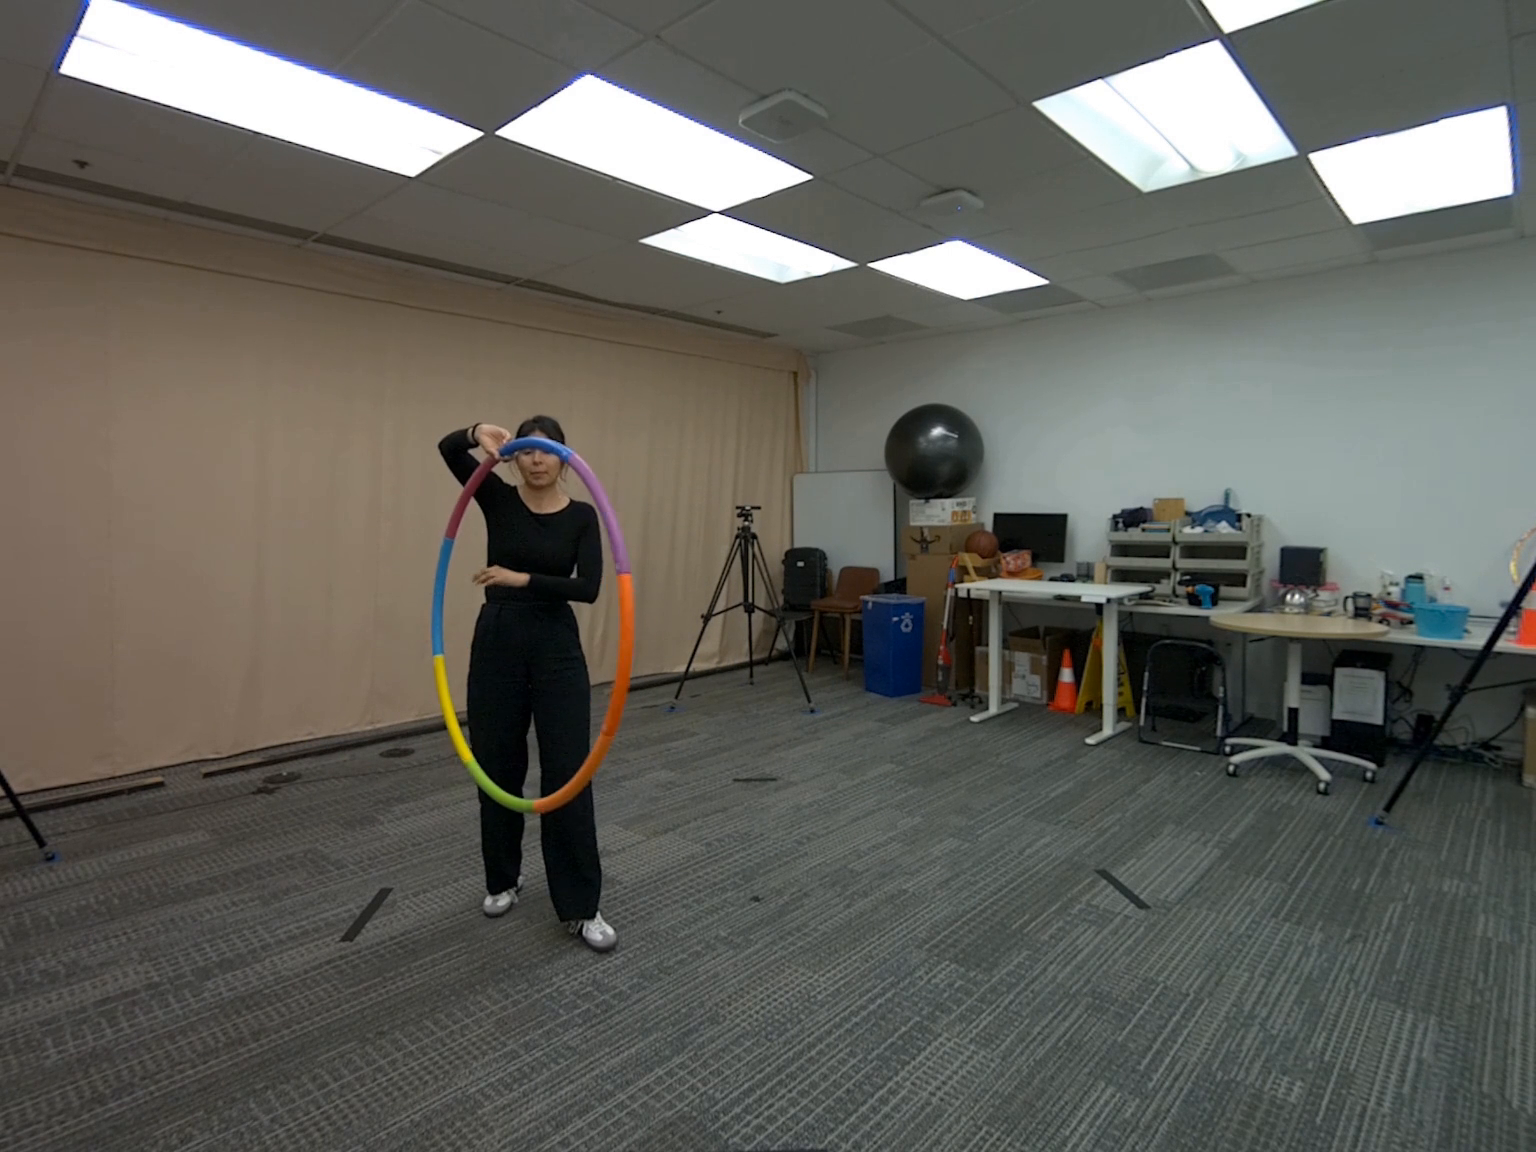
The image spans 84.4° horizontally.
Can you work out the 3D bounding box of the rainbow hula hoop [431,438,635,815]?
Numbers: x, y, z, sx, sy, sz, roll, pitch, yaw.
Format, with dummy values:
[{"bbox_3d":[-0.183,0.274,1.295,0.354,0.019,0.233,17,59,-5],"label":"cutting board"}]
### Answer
[{"bbox_3d":[-0.668,0.116,2.250,1.018,0.985,0.050,4,-1,44],"label":"rainbow hula hoop"}]
